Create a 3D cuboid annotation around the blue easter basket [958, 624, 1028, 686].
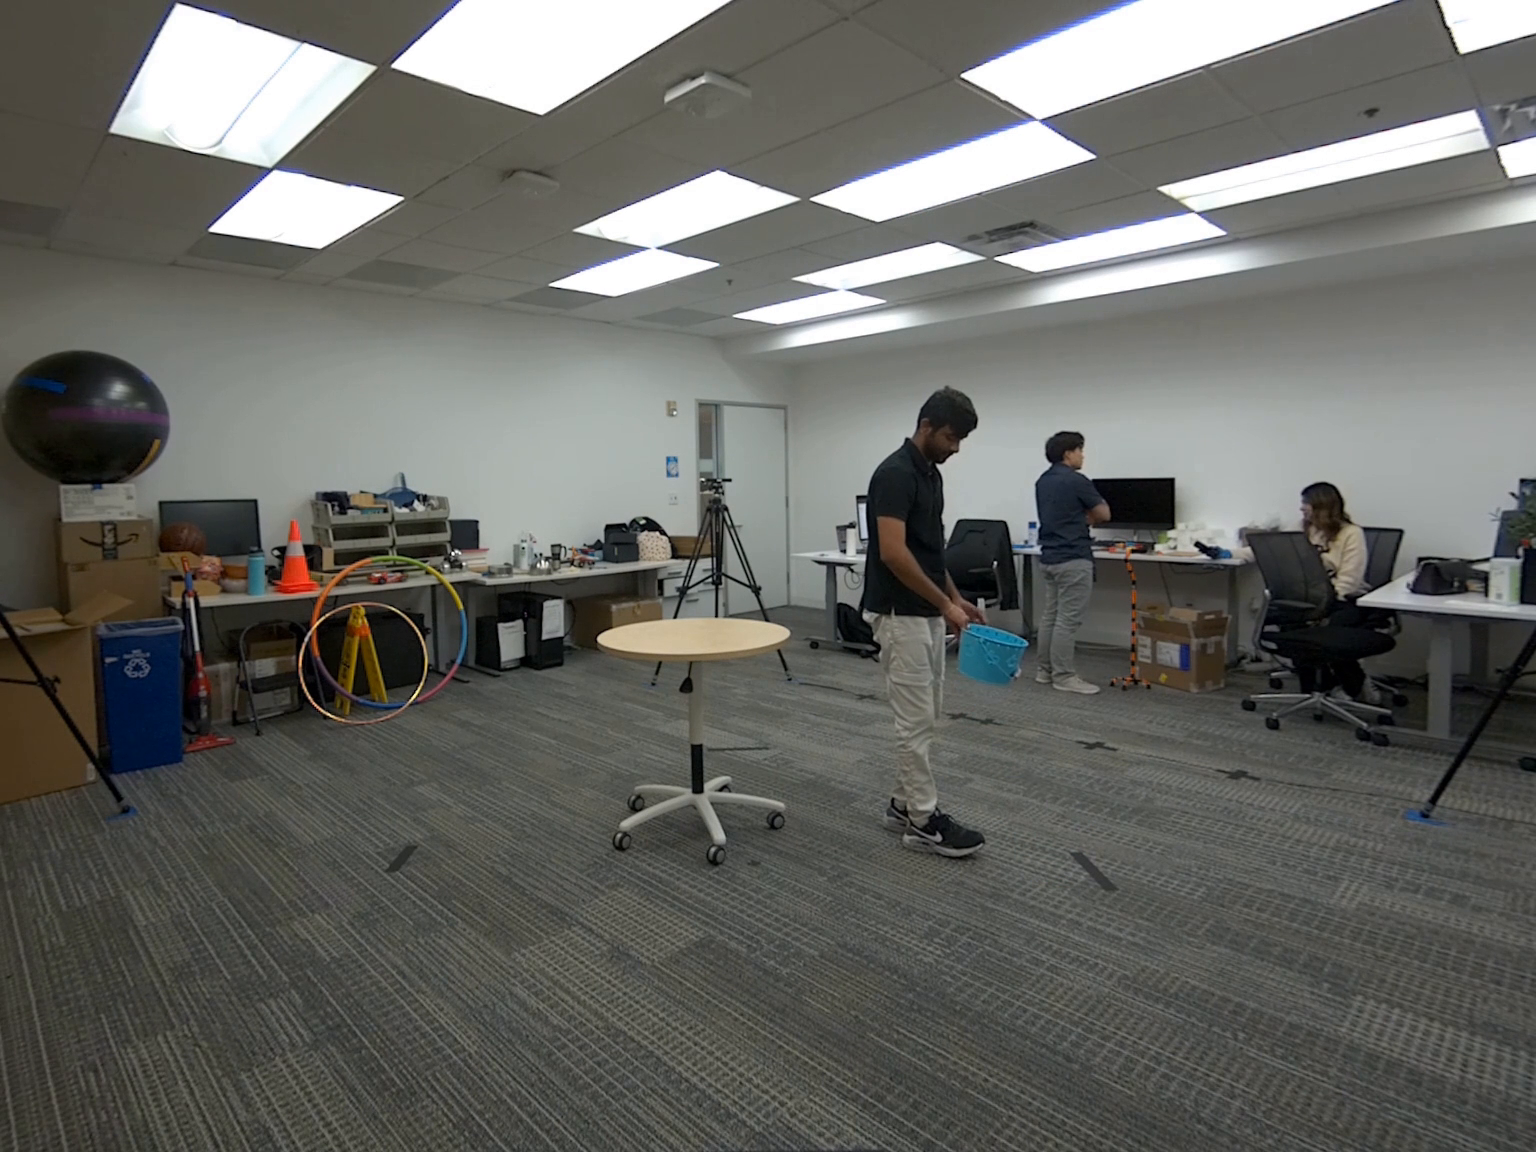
[{"bbox_3d":[0.788,0.277,2.972,0.243,0.155,0.246,10,9,-3],"label":"blue easter basket"}]
